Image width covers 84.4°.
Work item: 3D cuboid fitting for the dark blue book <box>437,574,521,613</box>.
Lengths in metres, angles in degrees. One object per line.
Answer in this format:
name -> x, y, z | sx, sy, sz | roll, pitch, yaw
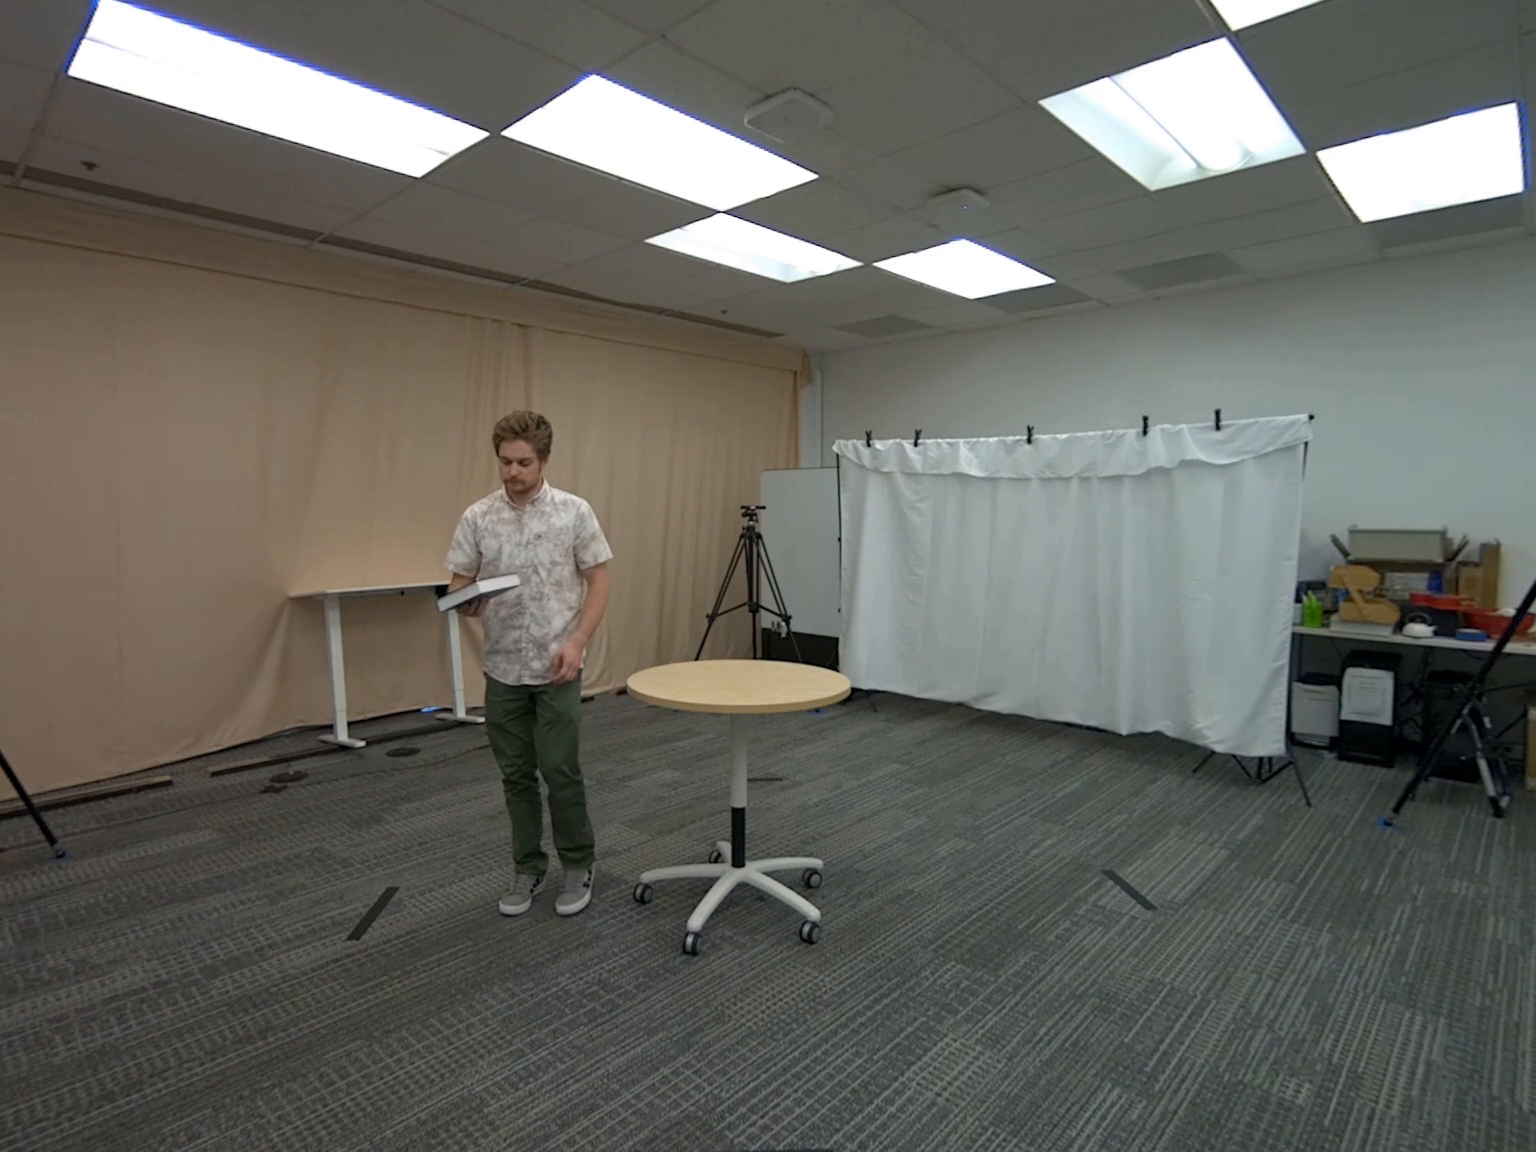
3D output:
dark blue book -> -0.909, 0.050, 2.646 | 0.165, 0.045, 0.242 | -23, 1, 14
